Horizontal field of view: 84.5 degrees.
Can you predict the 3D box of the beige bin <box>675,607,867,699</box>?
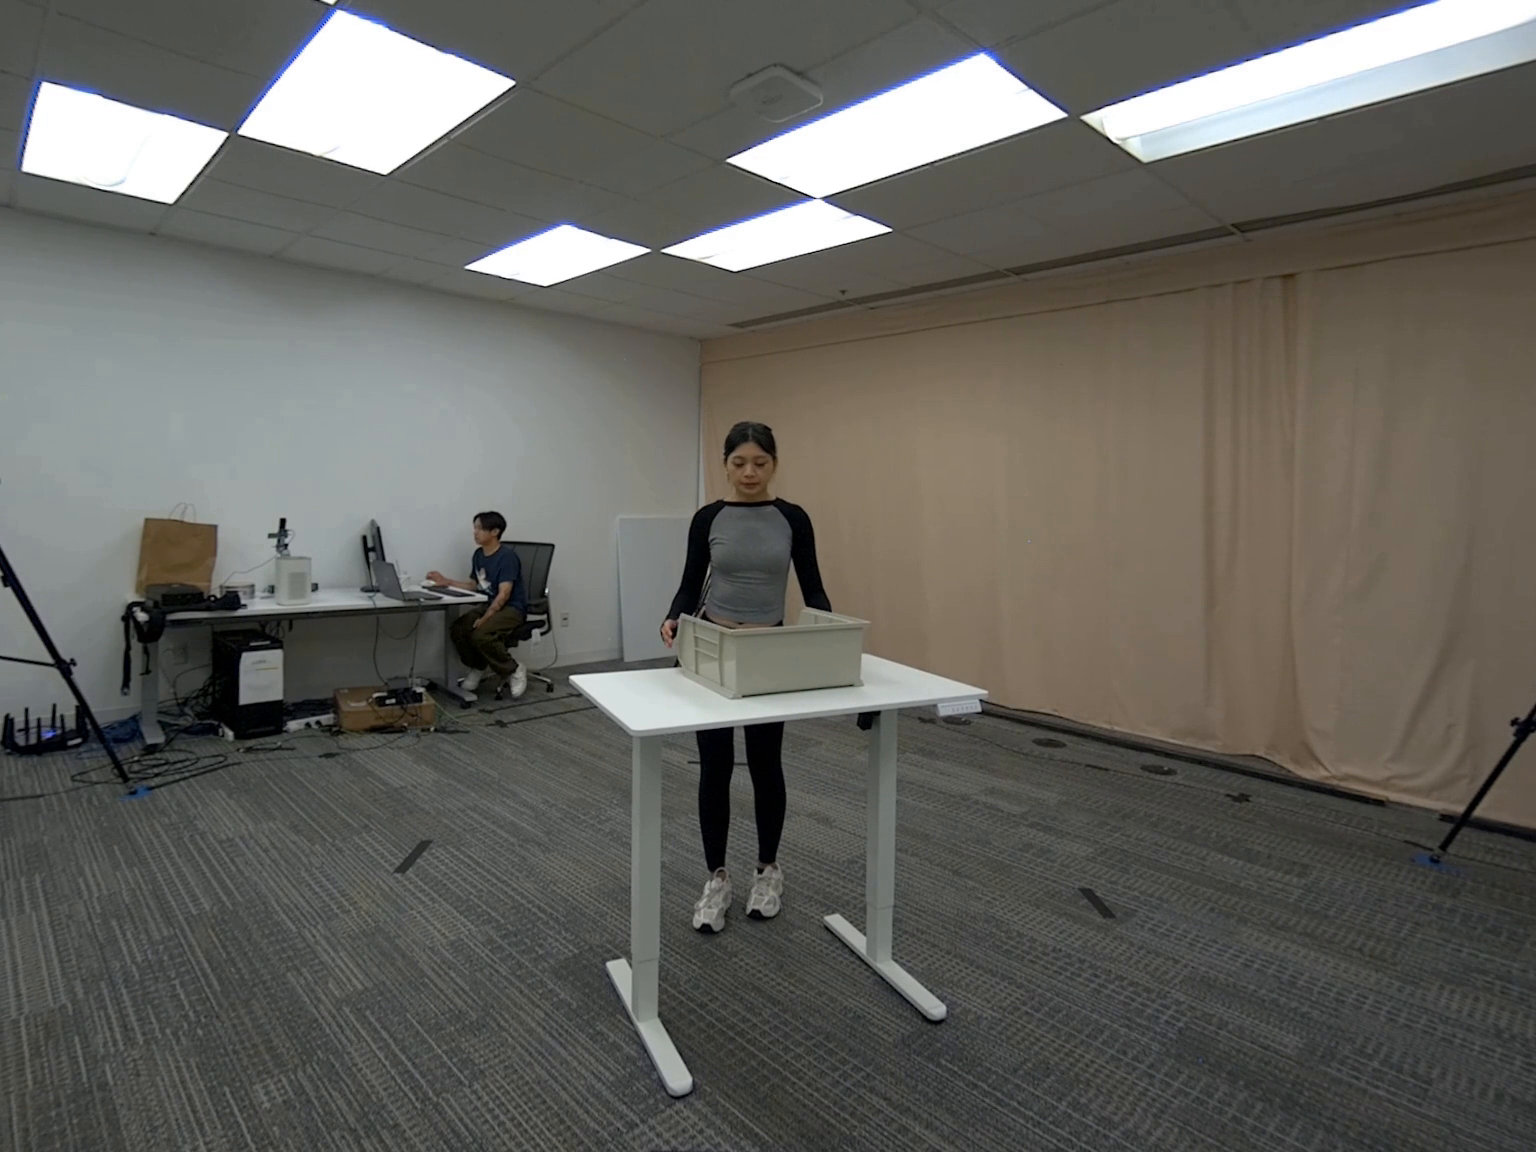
[{"bbox_3d":[-0.007,0.209,2.372,0.414,0.188,0.386,-1,6,-28],"label":"beige bin"}]
